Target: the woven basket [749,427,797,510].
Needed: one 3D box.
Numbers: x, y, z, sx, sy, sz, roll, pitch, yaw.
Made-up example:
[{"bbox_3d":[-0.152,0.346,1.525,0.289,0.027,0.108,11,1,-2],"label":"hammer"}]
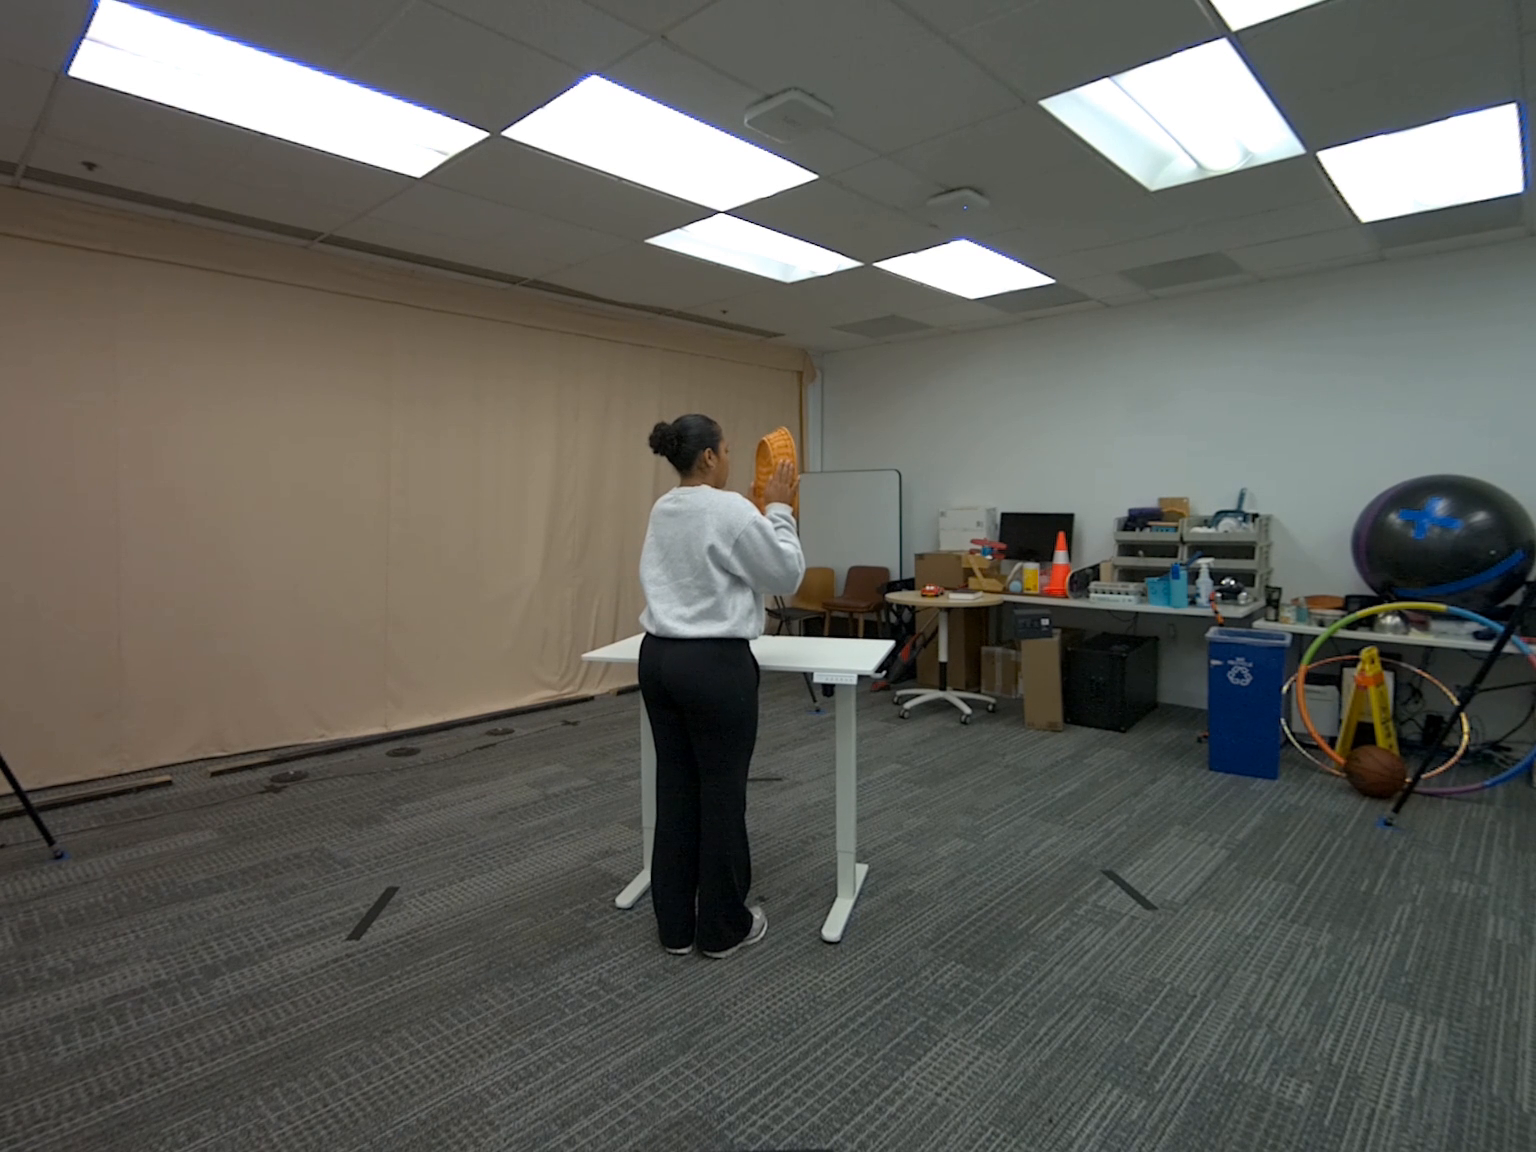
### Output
[{"bbox_3d":[0.027,-0.300,2.750,0.072,0.349,0.257,-1,6,-17],"label":"woven basket"}]
